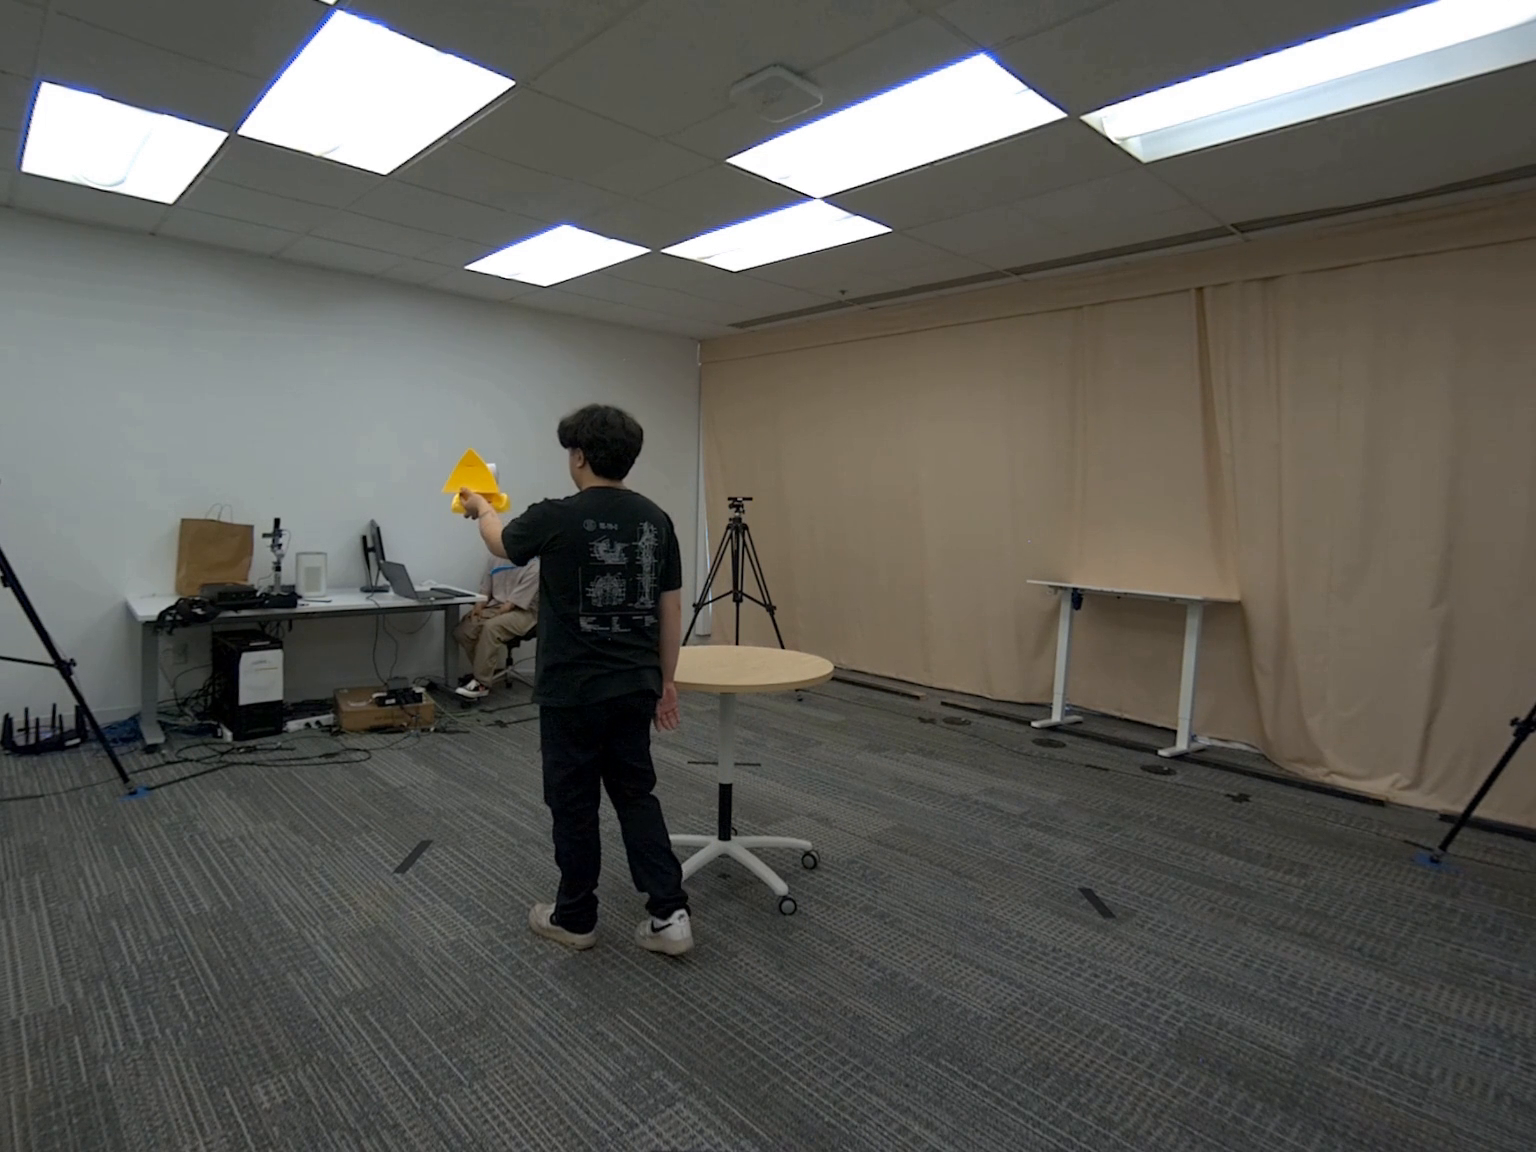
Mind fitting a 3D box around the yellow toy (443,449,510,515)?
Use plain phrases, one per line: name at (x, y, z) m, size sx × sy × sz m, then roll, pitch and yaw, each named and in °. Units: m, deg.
yellow toy at (-1.031, -0.347, 2.971) m, size 0.205 × 0.228 × 0.195 m, roll 1°, pitch 14°, yaw 1°
